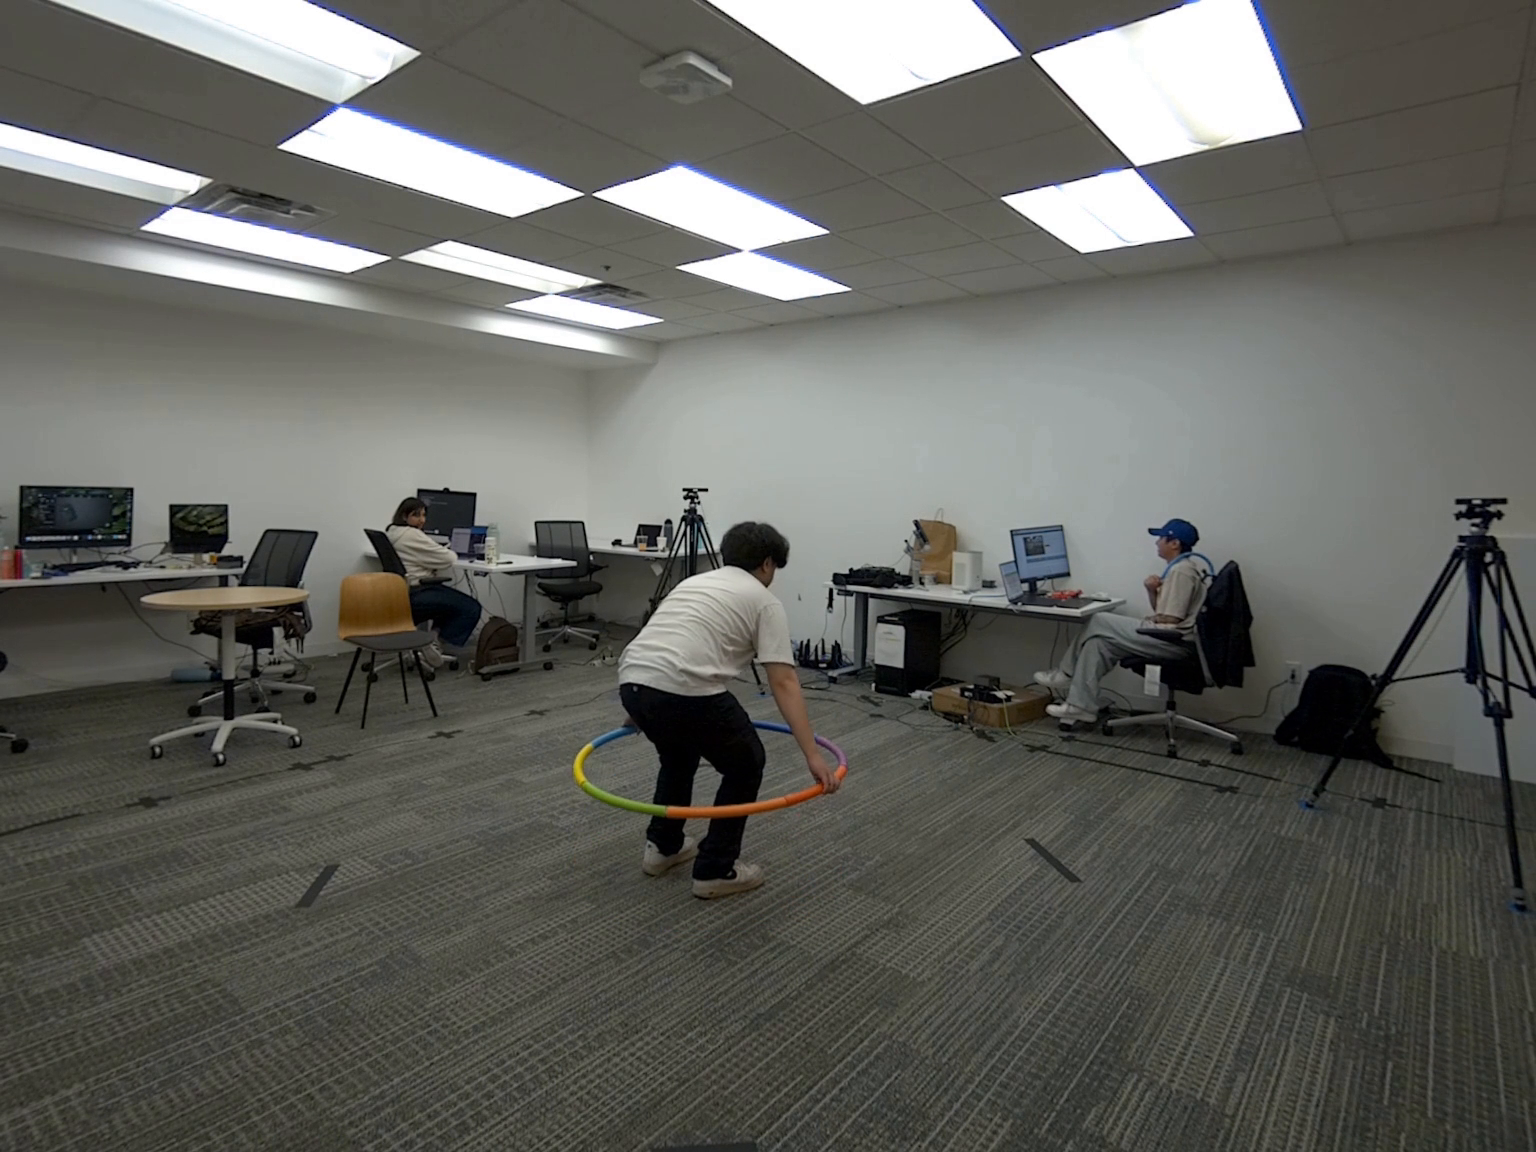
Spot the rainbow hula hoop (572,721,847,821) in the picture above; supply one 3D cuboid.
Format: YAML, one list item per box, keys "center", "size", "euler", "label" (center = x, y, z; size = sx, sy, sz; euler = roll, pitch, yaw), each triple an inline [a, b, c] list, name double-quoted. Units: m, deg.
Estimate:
- center: [-0.221, 0.660, 3.083]
  size: [0.985, 0.051, 0.992]
  euler: [-1, 8, -2]
  label: "rainbow hula hoop"
